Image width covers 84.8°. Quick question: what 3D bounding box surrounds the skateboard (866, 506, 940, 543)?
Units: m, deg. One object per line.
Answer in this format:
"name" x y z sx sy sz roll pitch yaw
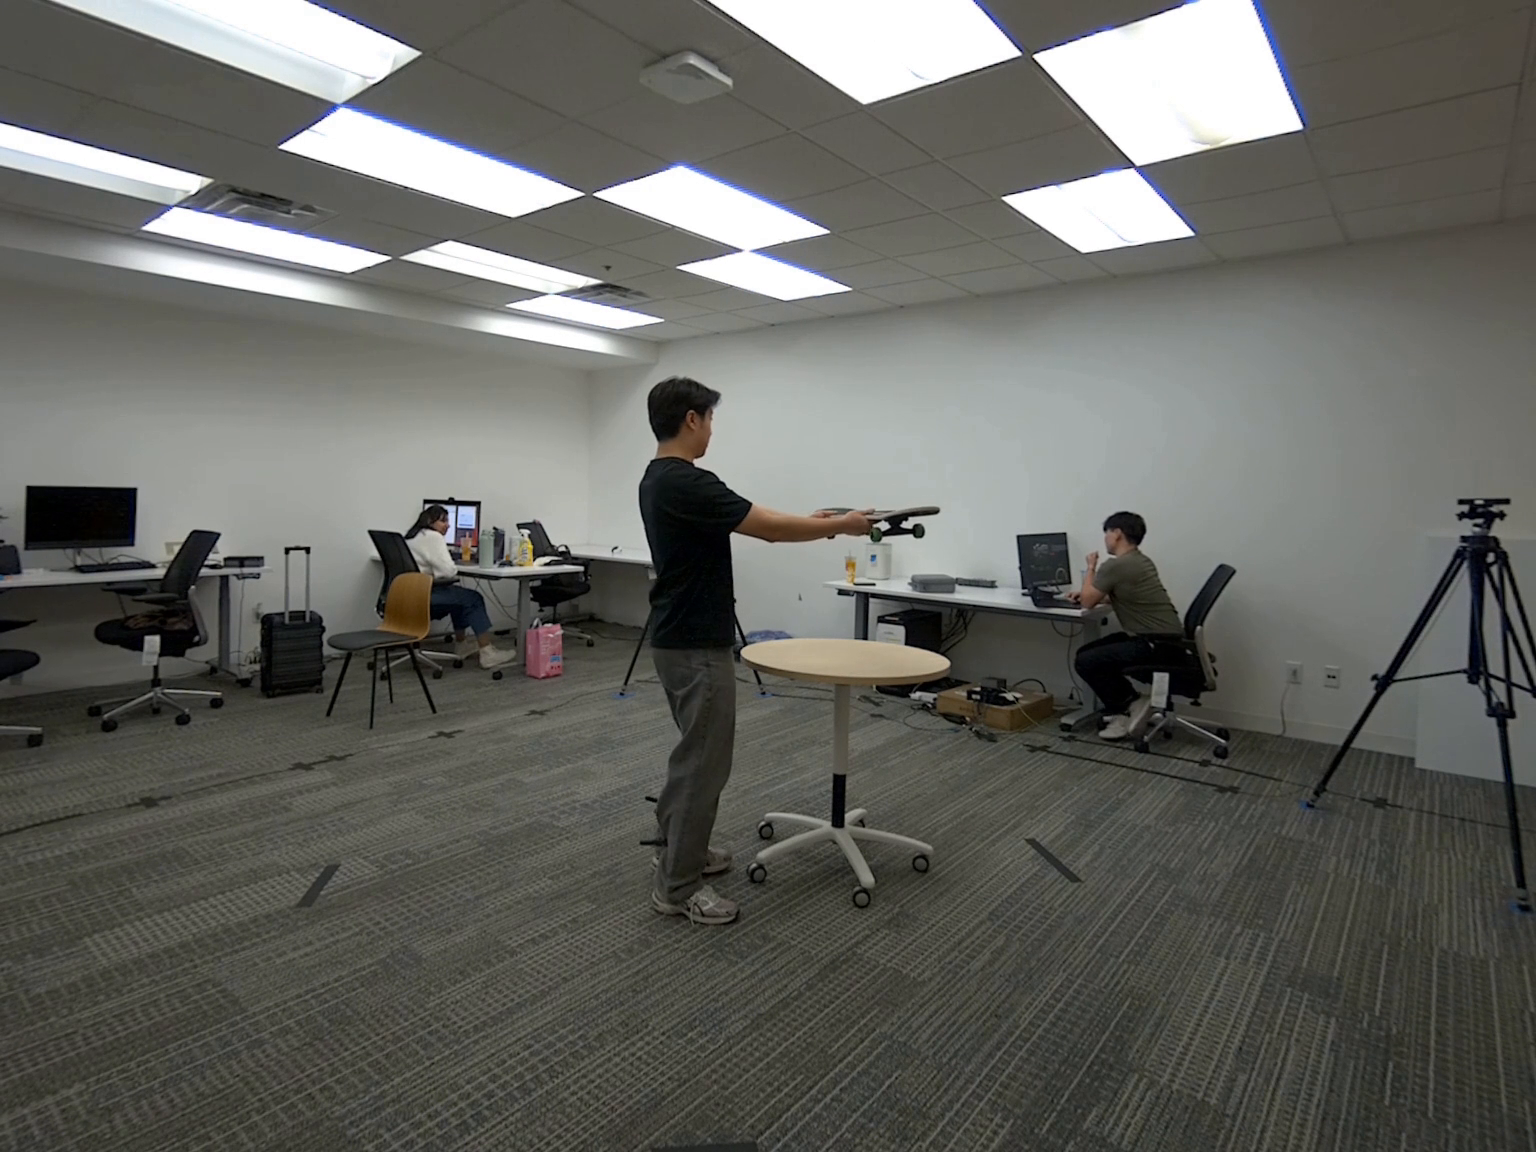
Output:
"skateboard" 0.350 -0.185 2.979 0.190 0.110 0.801 -2 4 -19
